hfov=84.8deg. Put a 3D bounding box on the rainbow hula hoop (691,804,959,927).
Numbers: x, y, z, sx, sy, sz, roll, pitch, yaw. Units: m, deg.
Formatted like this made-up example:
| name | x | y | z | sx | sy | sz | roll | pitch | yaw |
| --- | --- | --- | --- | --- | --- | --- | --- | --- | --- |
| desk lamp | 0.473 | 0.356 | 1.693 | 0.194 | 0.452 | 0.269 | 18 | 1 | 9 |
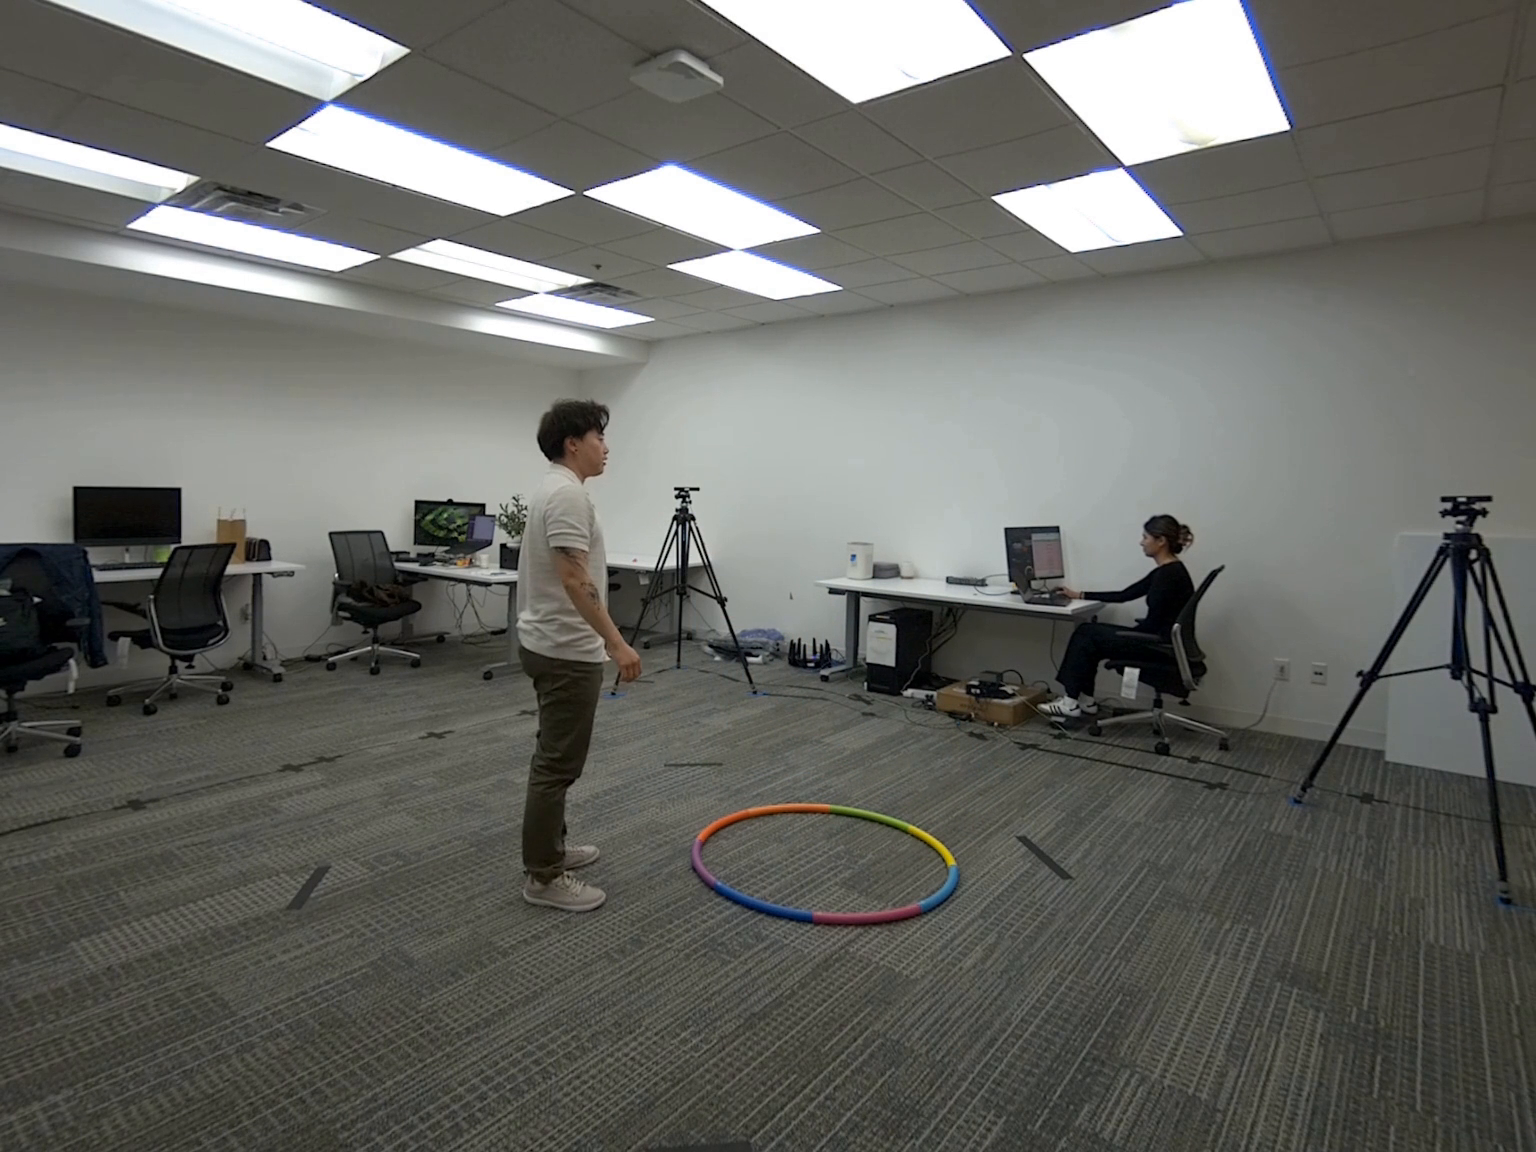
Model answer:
| name | x | y | z | sx | sy | sz | roll | pitch | yaw |
| --- | --- | --- | --- | --- | --- | --- | --- | --- | --- |
| rainbow hula hoop | 0.189 | 1.033 | 3.201 | 0.978 | 0.035 | 0.984 | 1 | 6 | -2 |
